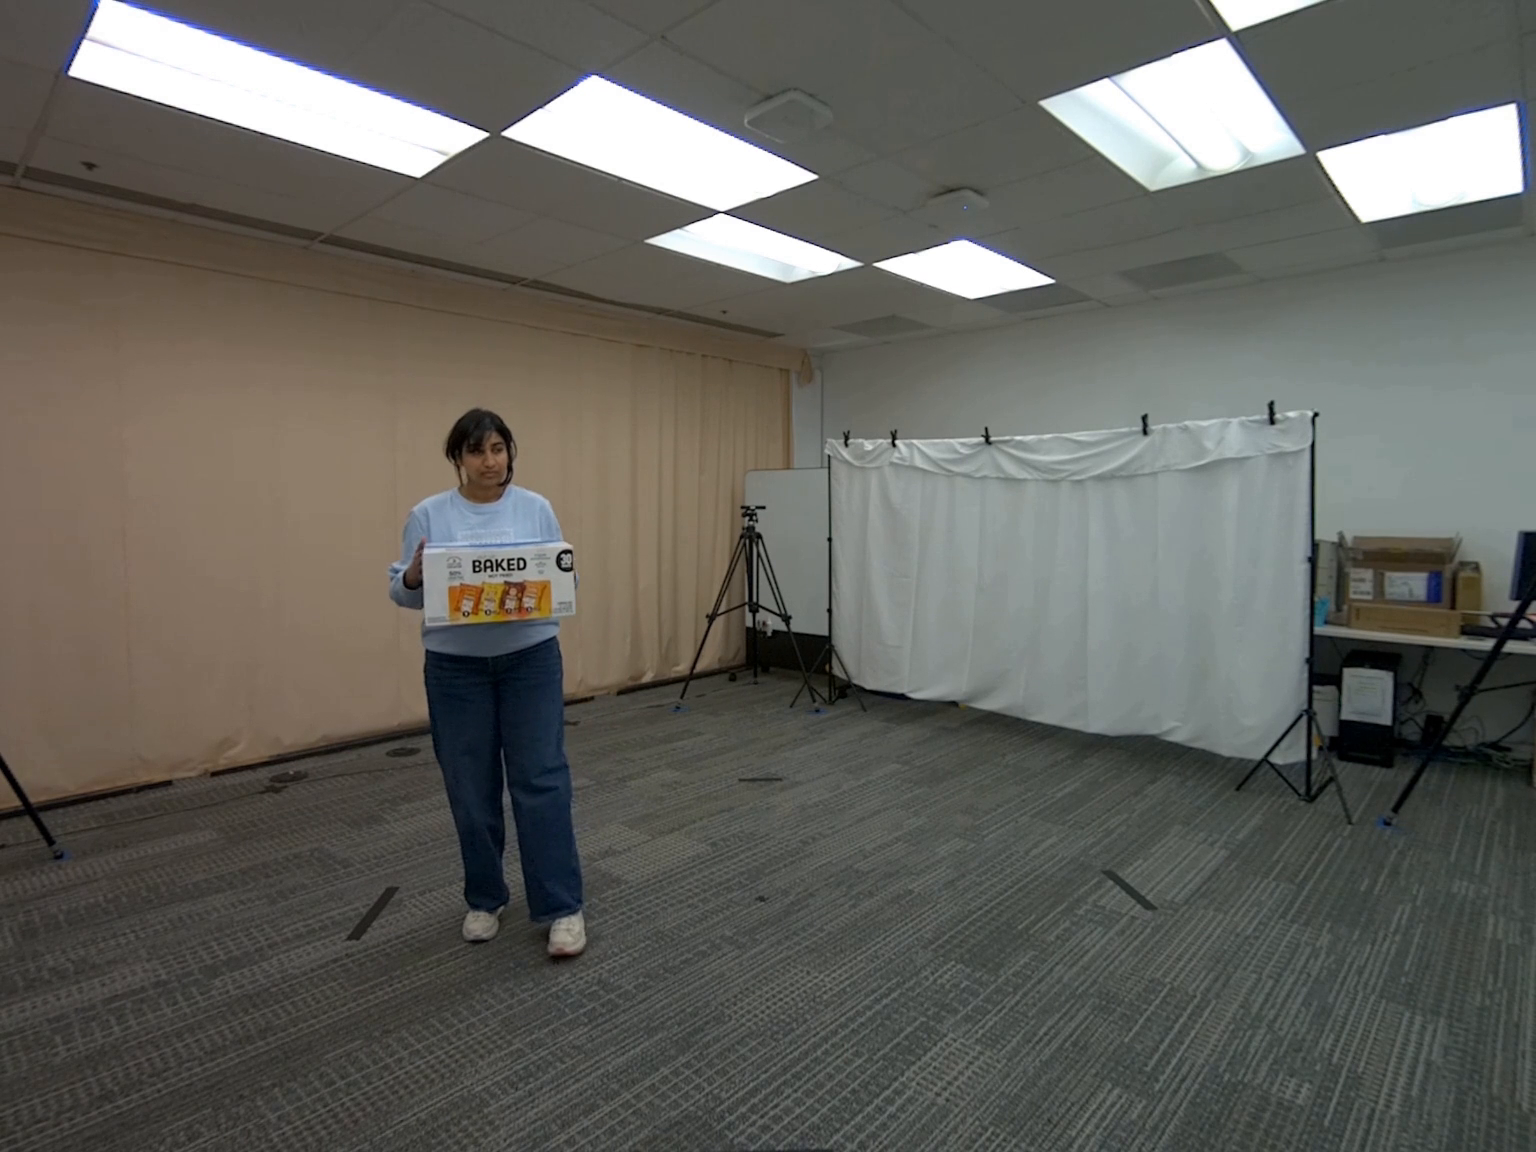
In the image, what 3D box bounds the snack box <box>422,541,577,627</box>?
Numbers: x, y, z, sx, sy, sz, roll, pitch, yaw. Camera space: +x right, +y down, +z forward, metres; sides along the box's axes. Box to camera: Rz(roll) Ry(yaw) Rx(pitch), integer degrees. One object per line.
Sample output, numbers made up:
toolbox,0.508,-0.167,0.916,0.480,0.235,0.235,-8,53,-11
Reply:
snack box,-0.796,0.008,2.479,0.397,0.205,0.348,-4,7,-20
